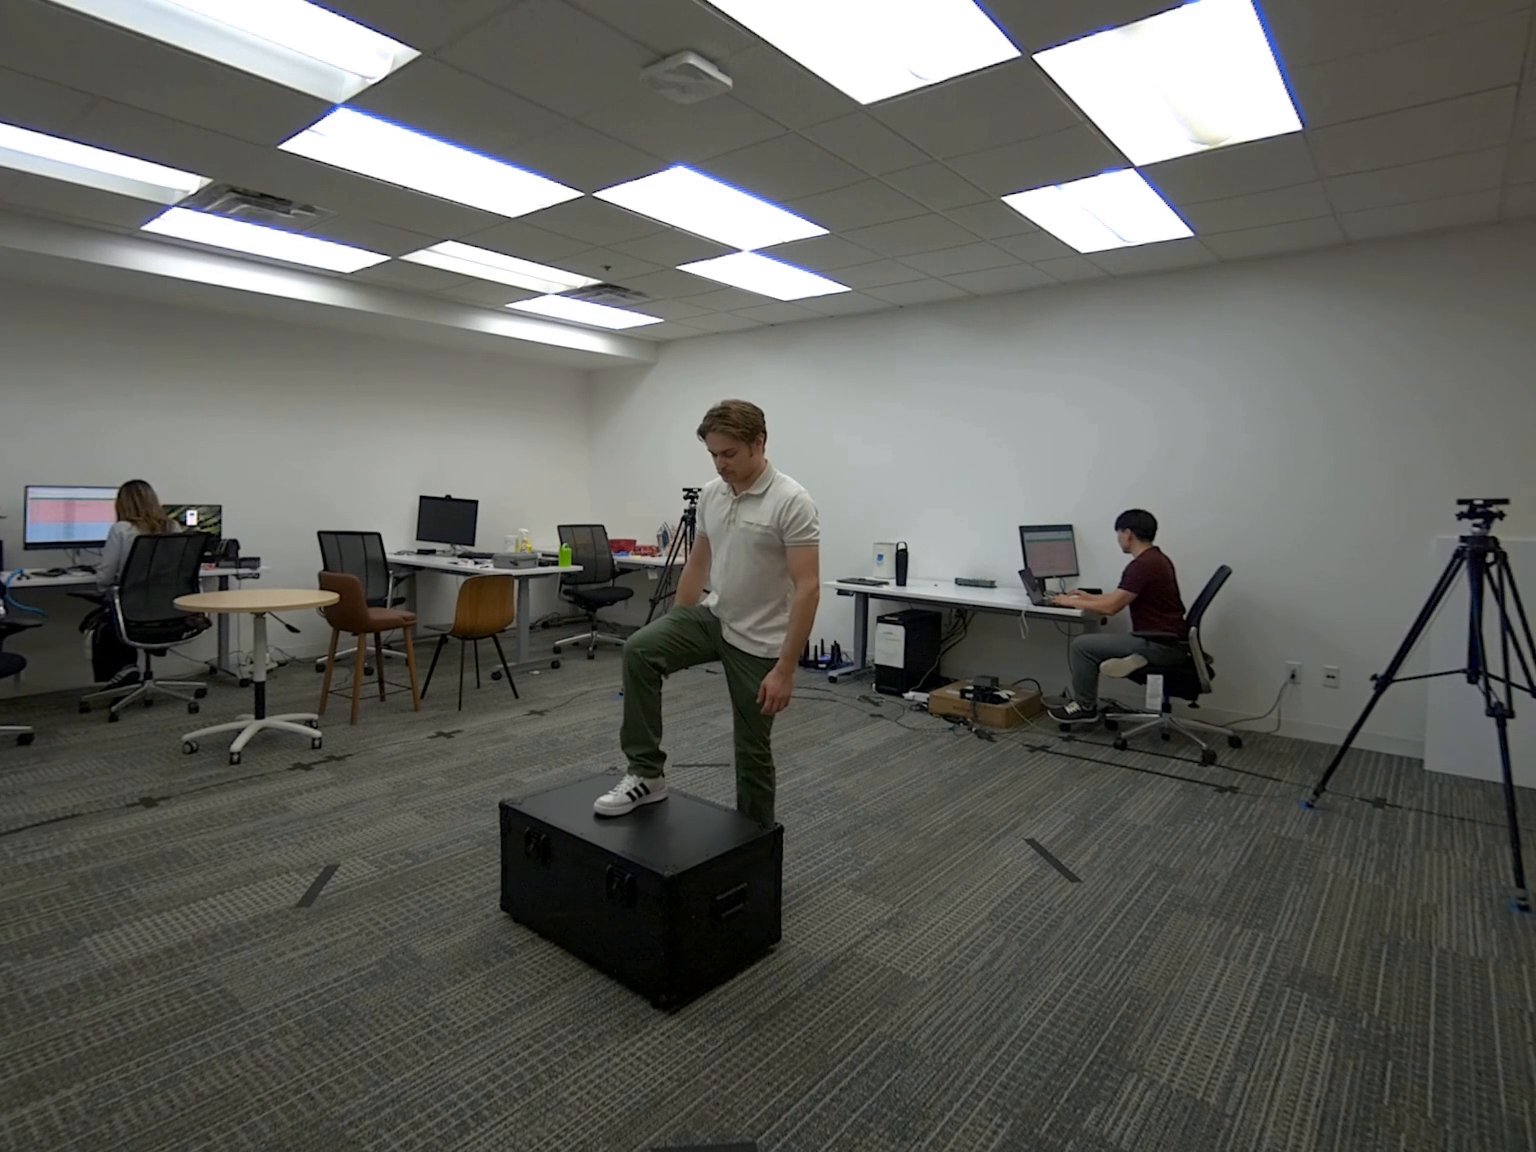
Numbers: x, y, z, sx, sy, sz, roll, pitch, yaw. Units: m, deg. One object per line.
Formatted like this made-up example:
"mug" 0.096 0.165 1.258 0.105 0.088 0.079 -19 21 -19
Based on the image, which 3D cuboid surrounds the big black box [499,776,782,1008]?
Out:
"big black box" -0.442 0.919 2.673 0.891 0.395 0.506 6 7 40
